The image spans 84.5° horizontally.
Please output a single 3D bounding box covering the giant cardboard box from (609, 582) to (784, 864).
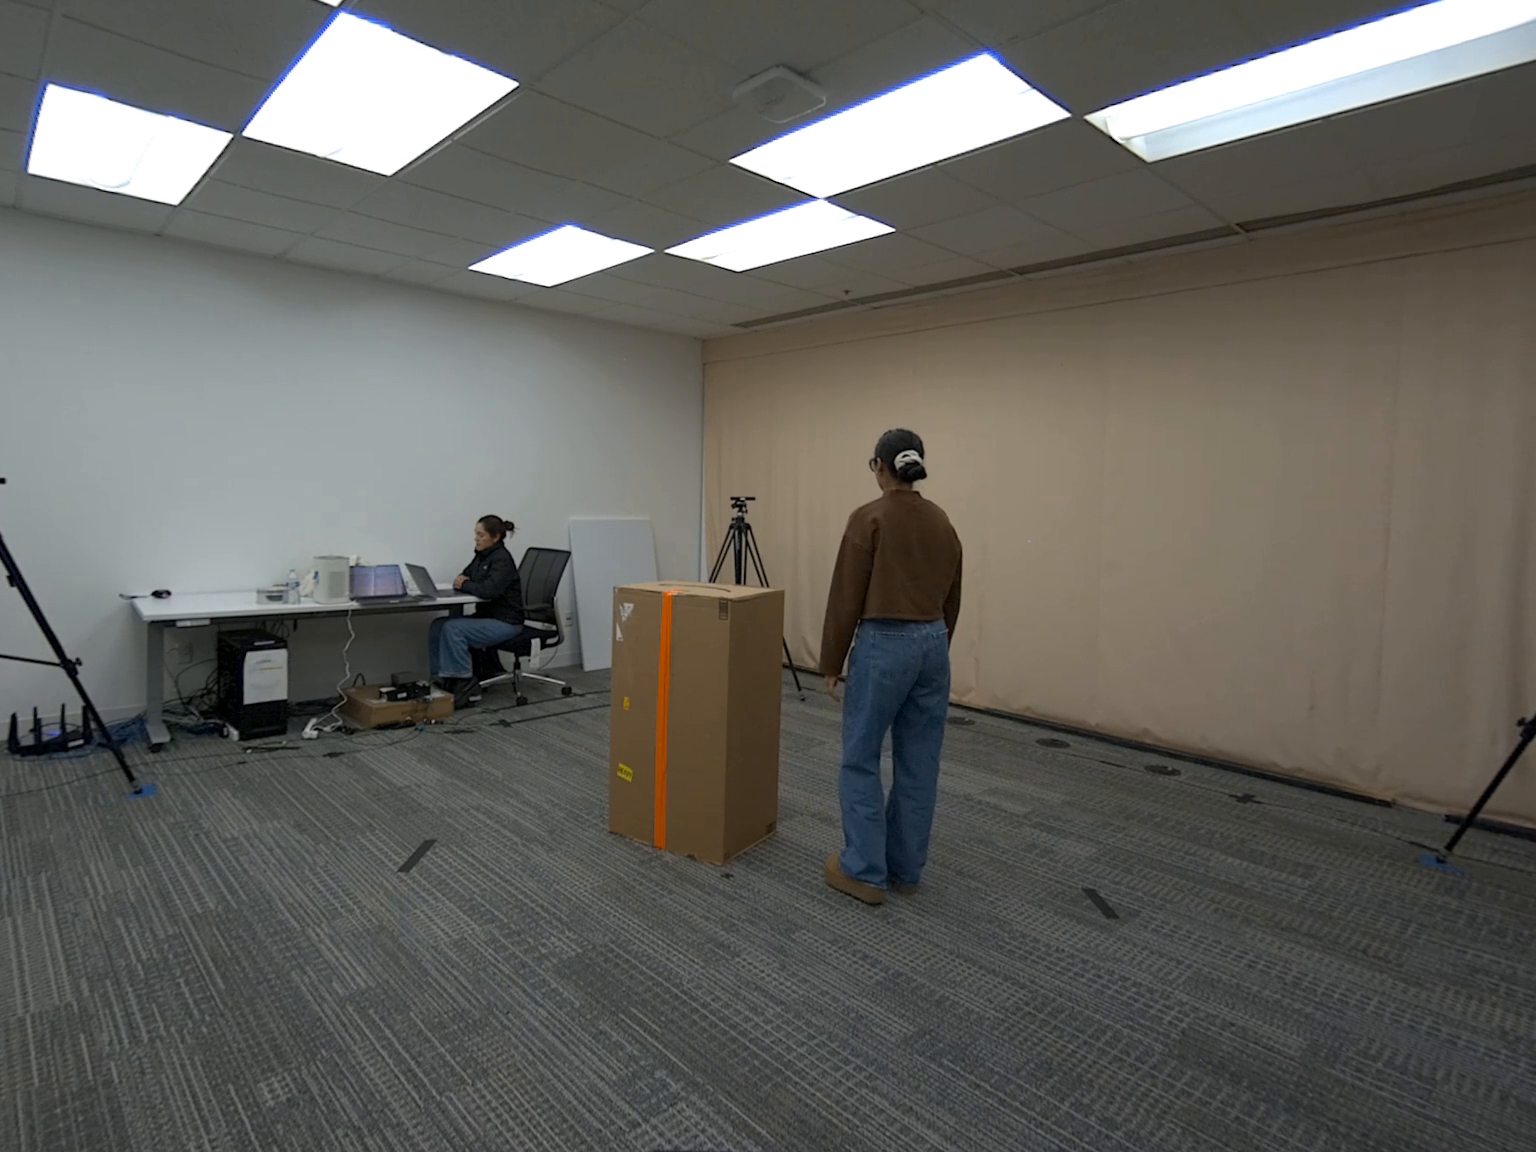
[{"bbox_3d":[-0.301,0.559,3.487,0.591,1.023,0.417,4,4,33],"label":"giant cardboard box"}]
